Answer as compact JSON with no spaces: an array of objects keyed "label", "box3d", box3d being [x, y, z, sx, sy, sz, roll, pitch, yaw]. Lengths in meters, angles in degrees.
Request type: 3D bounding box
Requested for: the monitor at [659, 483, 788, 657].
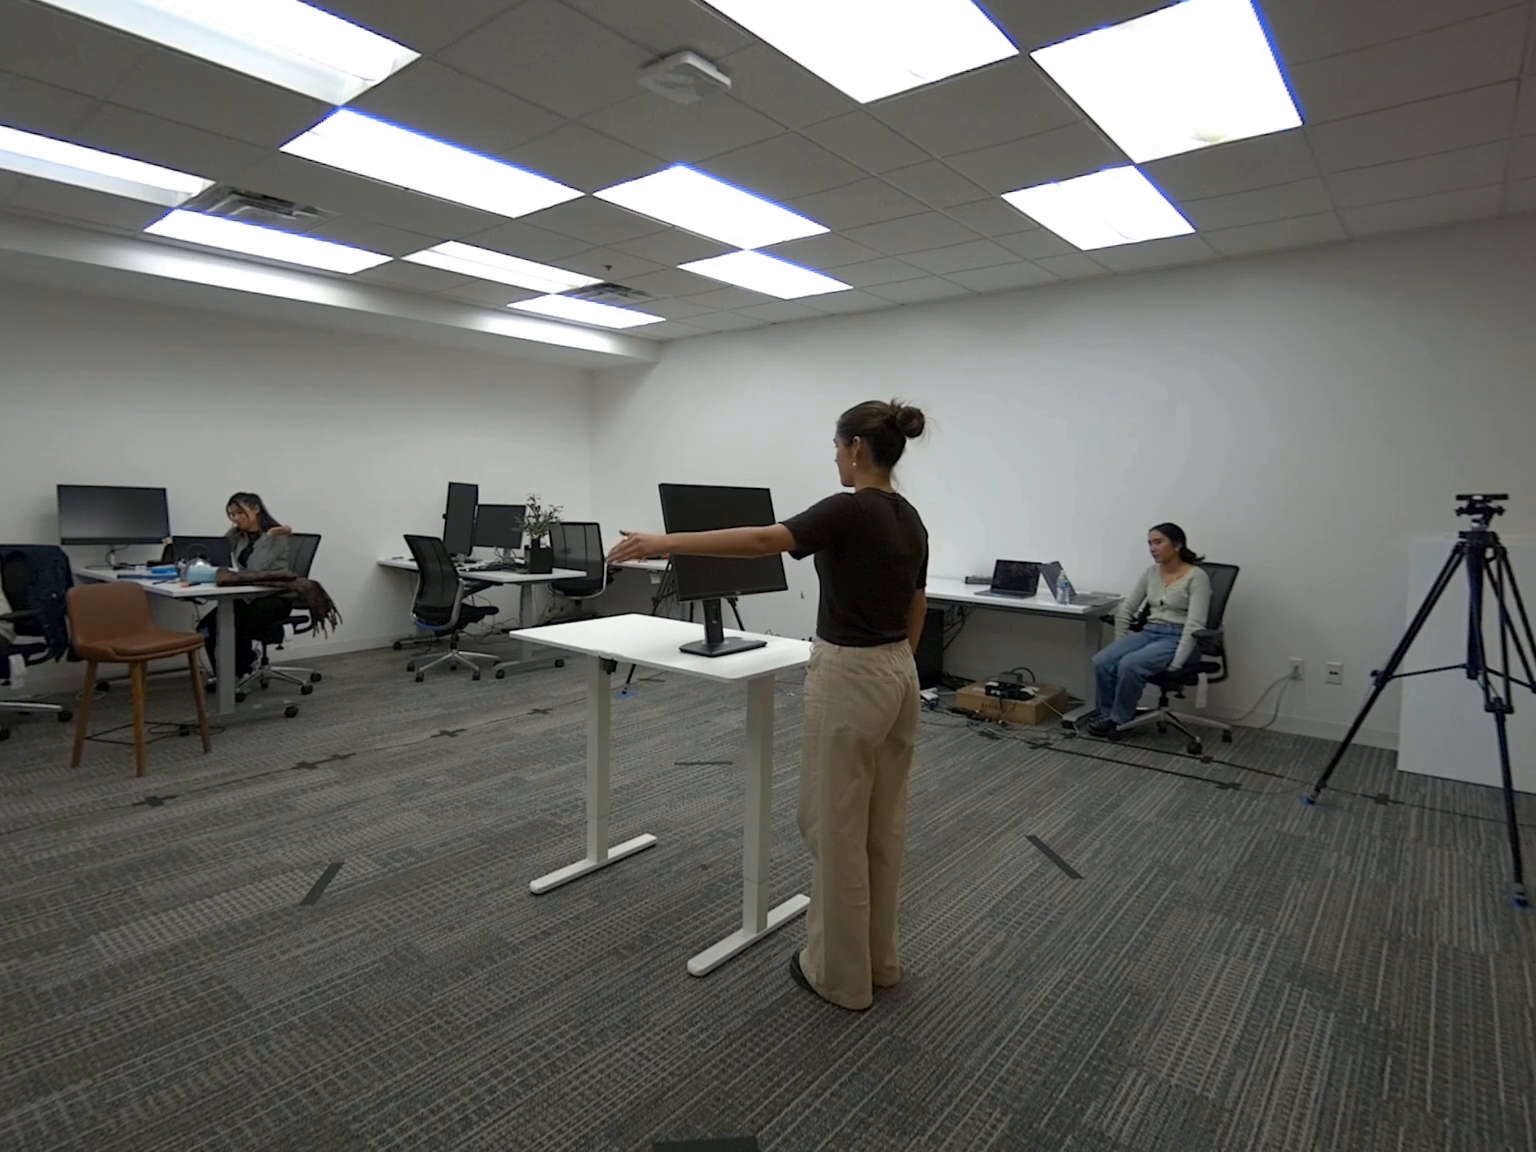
[{"label":"monitor","box3d":[-0.159,-0.025,2.686,0.193,0.522,0.523,0,2,36]}]
